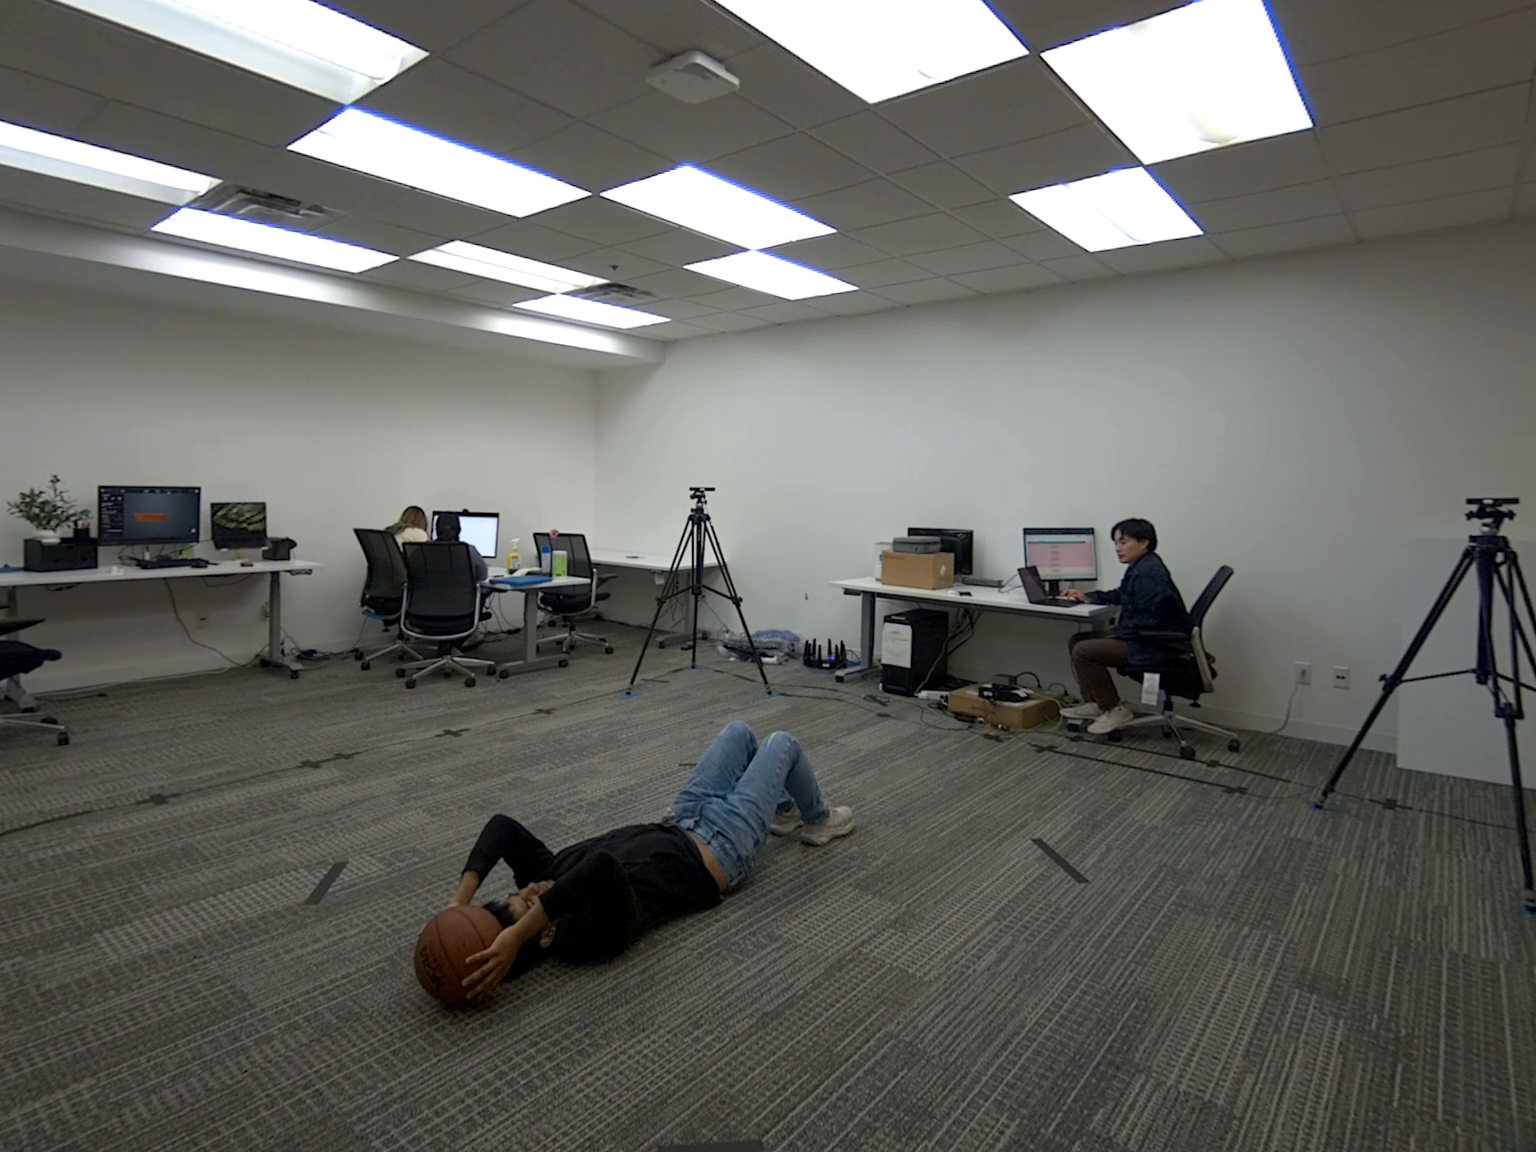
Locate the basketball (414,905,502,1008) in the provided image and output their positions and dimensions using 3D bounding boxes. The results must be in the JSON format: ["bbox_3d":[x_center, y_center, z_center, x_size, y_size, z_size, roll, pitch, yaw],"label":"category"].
[{"bbox_3d":[-0.842,1.009,2.303,0.235,0.235,0.237,1,4,-2],"label":"basketball"}]
